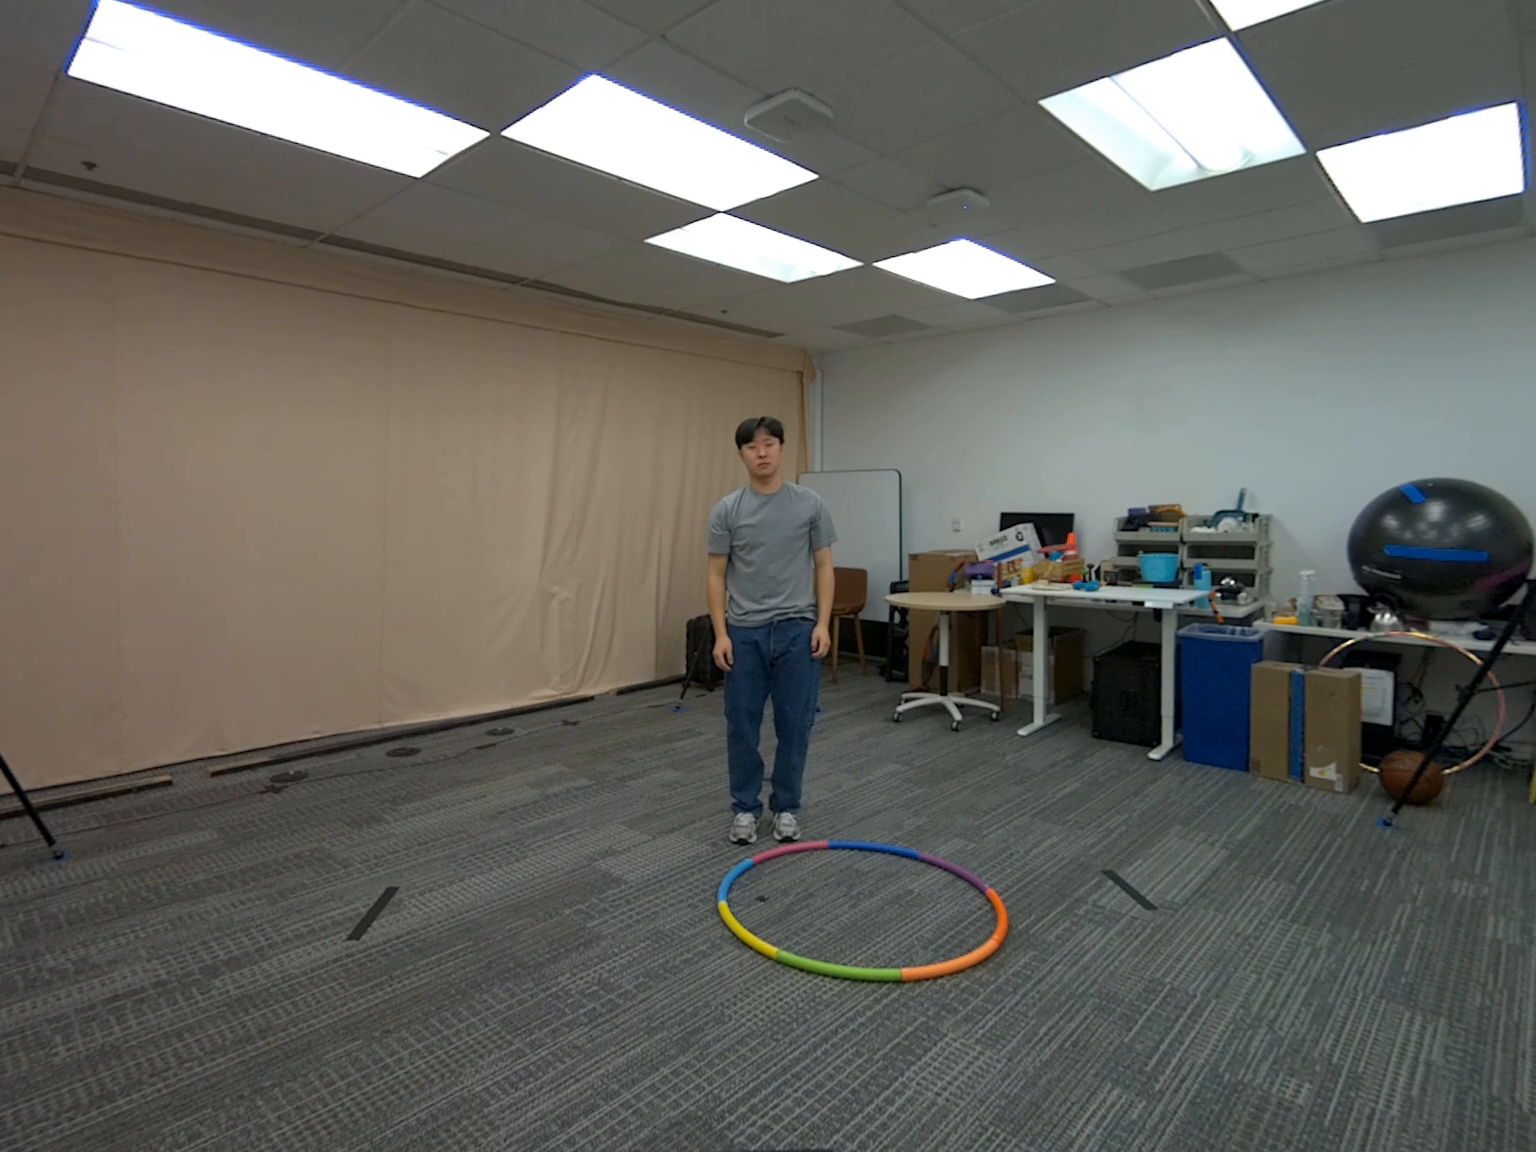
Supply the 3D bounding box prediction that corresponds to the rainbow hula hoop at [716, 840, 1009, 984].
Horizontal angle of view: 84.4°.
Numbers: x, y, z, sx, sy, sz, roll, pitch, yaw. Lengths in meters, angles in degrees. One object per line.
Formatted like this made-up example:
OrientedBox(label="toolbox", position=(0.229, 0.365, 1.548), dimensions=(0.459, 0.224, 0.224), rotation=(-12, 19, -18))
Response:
OrientedBox(label="rainbow hula hoop", position=(0.318, 1.119, 2.939), dimensions=(0.978, 0.035, 0.982), rotation=(0, 5, -2))
